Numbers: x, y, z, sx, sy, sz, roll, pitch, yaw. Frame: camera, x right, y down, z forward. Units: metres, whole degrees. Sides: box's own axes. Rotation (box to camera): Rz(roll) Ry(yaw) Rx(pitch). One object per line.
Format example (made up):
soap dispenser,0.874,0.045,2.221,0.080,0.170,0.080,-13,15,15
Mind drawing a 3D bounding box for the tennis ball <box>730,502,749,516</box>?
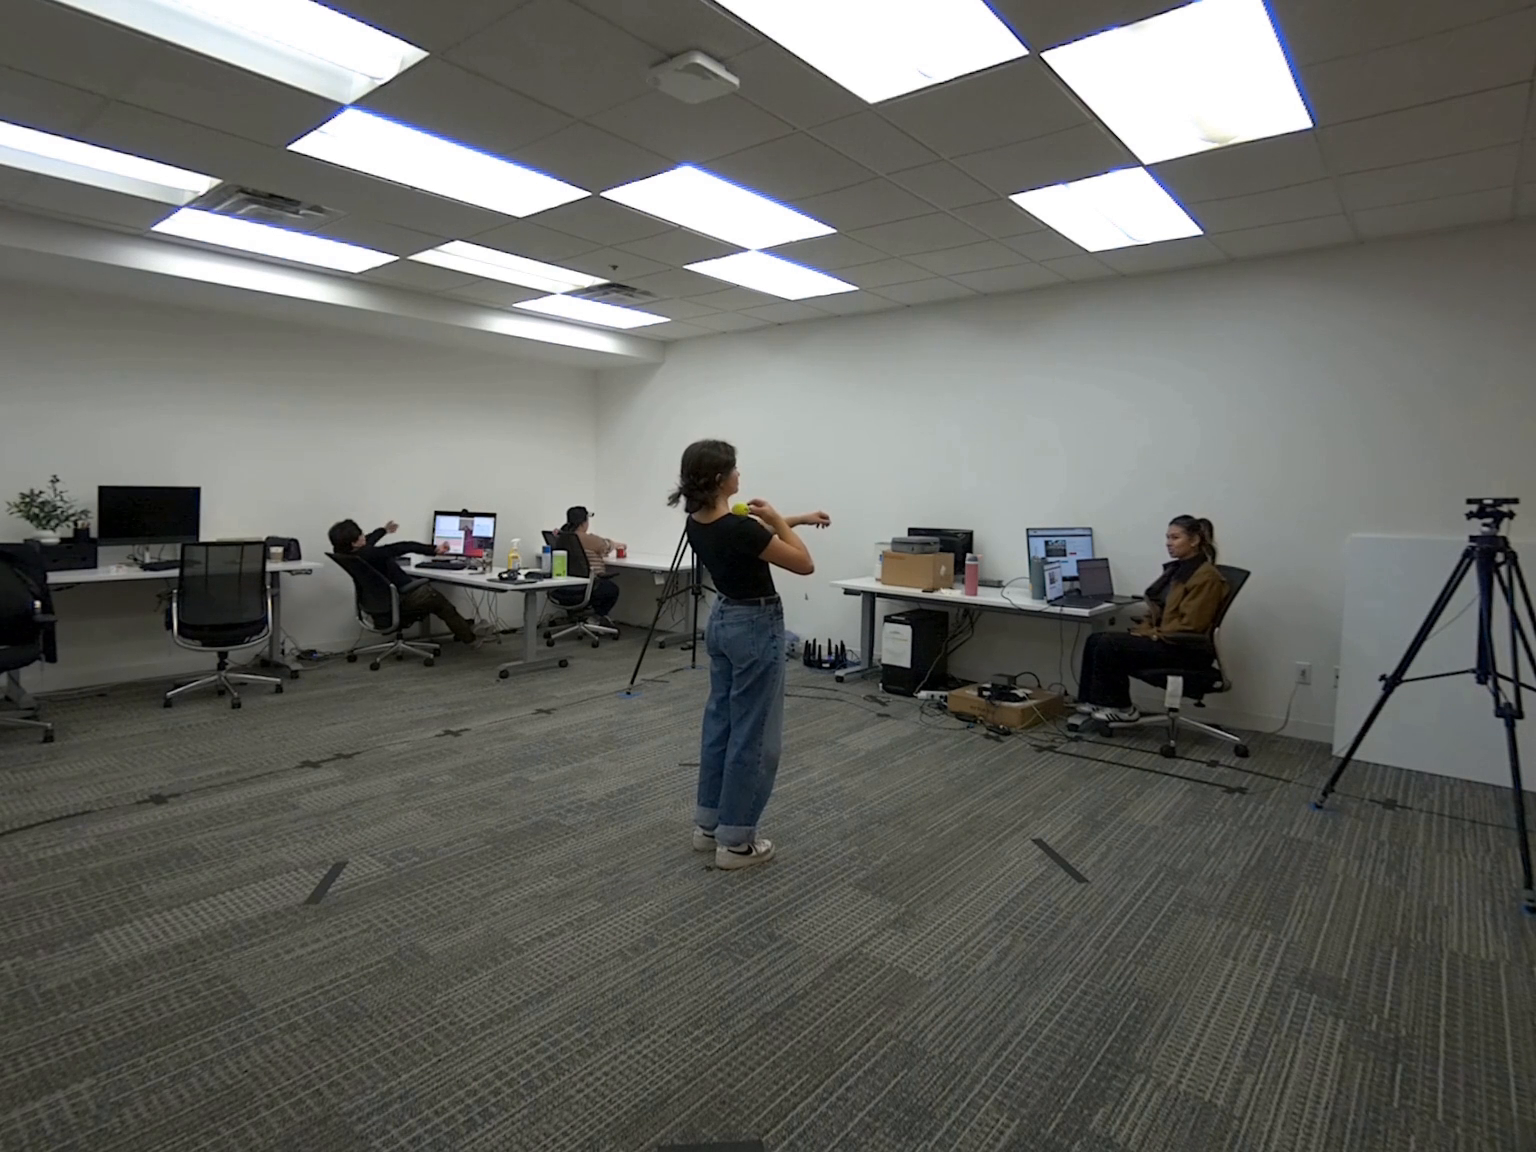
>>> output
tennis ball,-0.116,-0.243,3.165,0.066,0.066,0.067,1,4,-2
